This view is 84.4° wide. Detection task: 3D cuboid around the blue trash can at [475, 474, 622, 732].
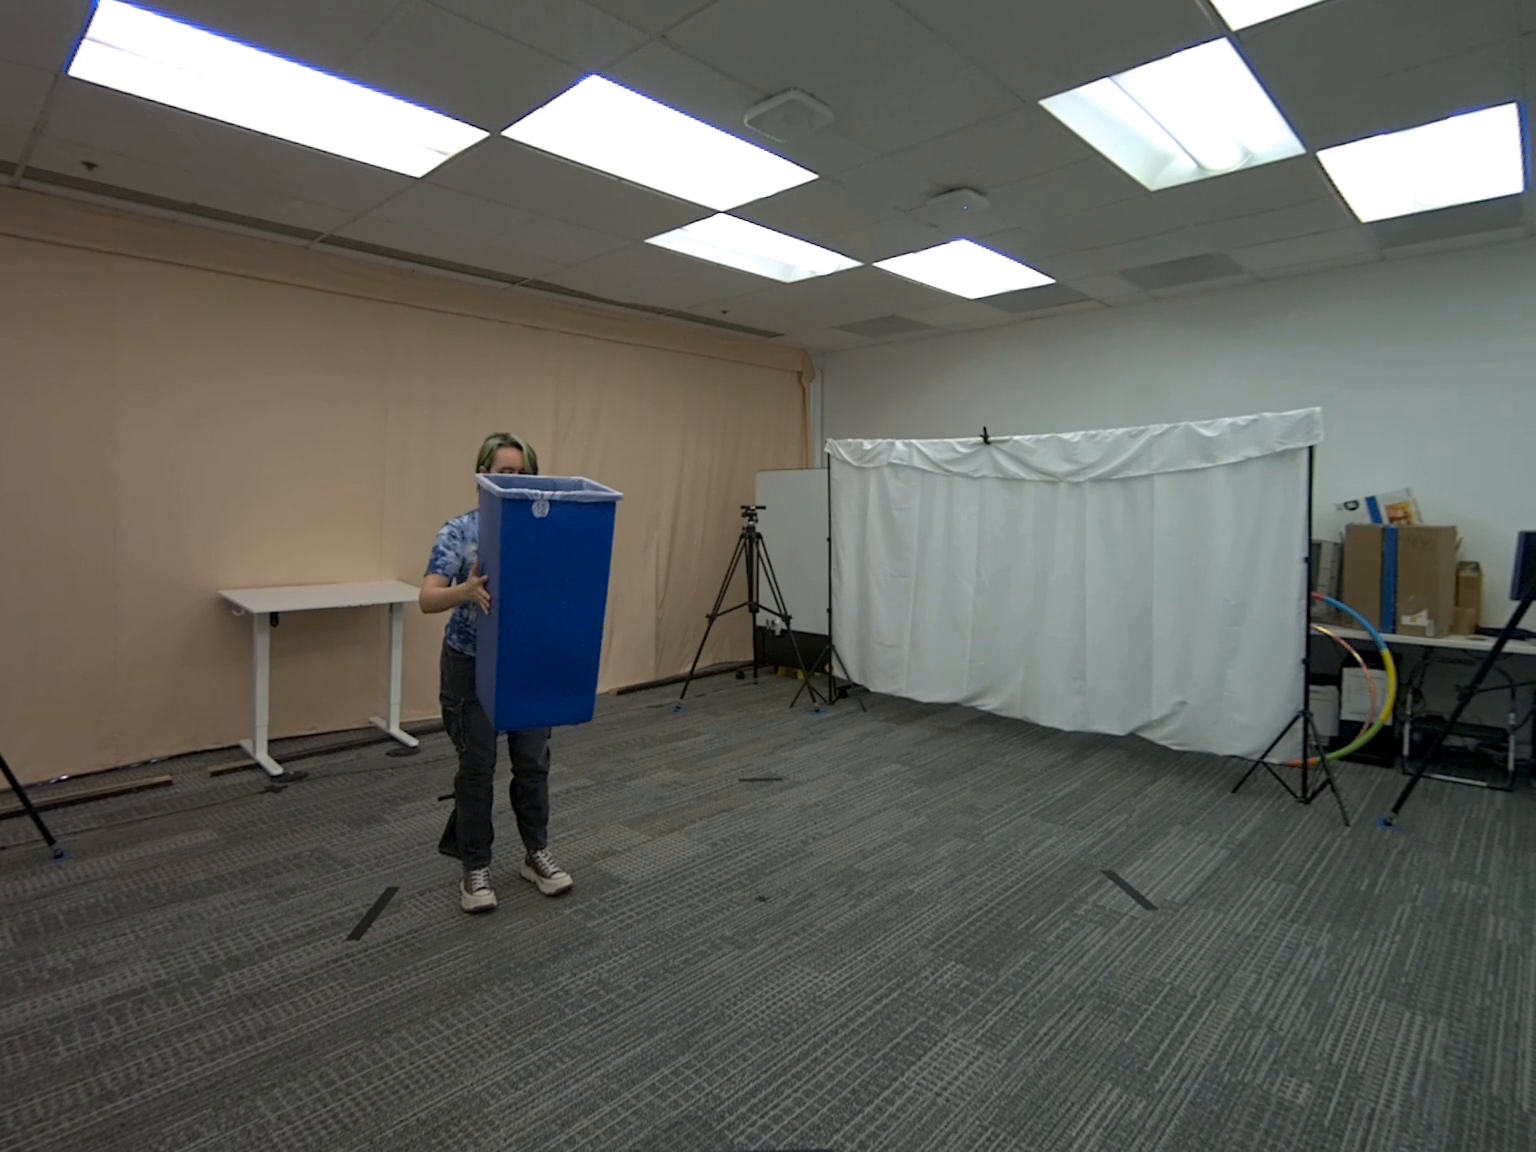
[{"bbox_3d":[-0.706,0.062,2.580,0.368,0.710,0.386,2,12,-29],"label":"blue trash can"}]
